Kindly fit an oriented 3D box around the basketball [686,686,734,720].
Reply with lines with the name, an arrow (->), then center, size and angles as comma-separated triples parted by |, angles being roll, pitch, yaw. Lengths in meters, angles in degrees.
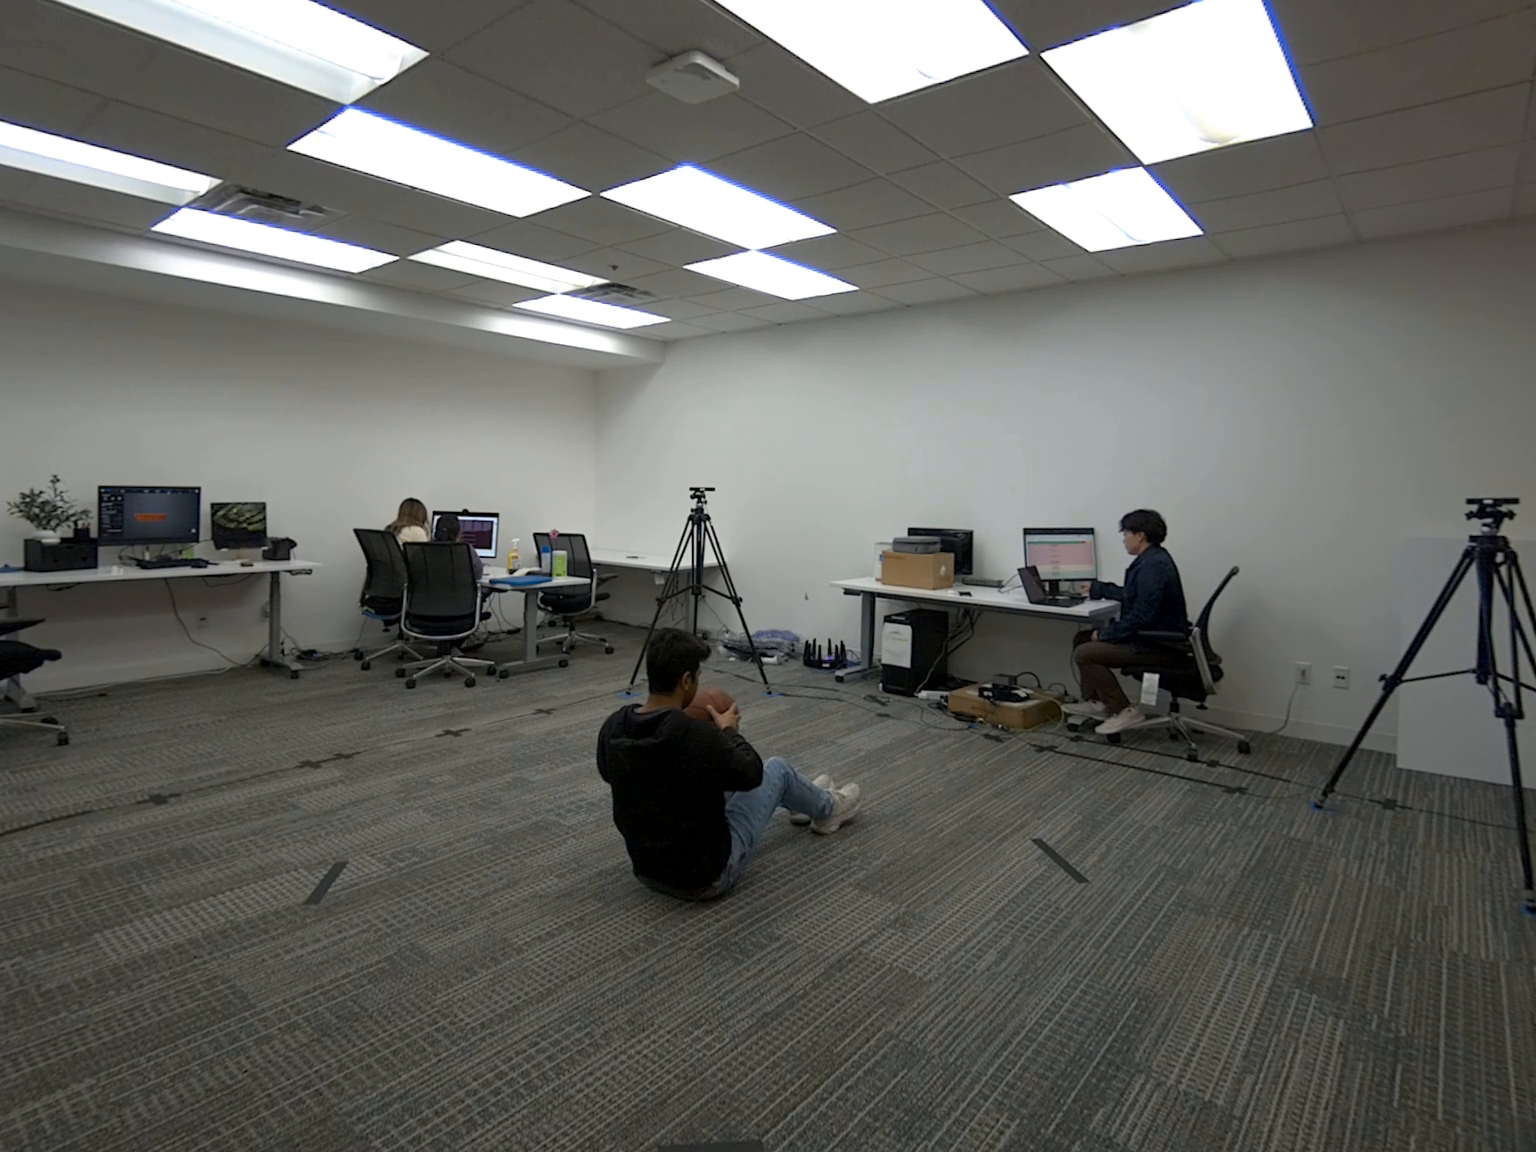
basketball -> -0.265, 0.572, 3.332 | 0.235, 0.235, 0.237 | 1, 4, -2
